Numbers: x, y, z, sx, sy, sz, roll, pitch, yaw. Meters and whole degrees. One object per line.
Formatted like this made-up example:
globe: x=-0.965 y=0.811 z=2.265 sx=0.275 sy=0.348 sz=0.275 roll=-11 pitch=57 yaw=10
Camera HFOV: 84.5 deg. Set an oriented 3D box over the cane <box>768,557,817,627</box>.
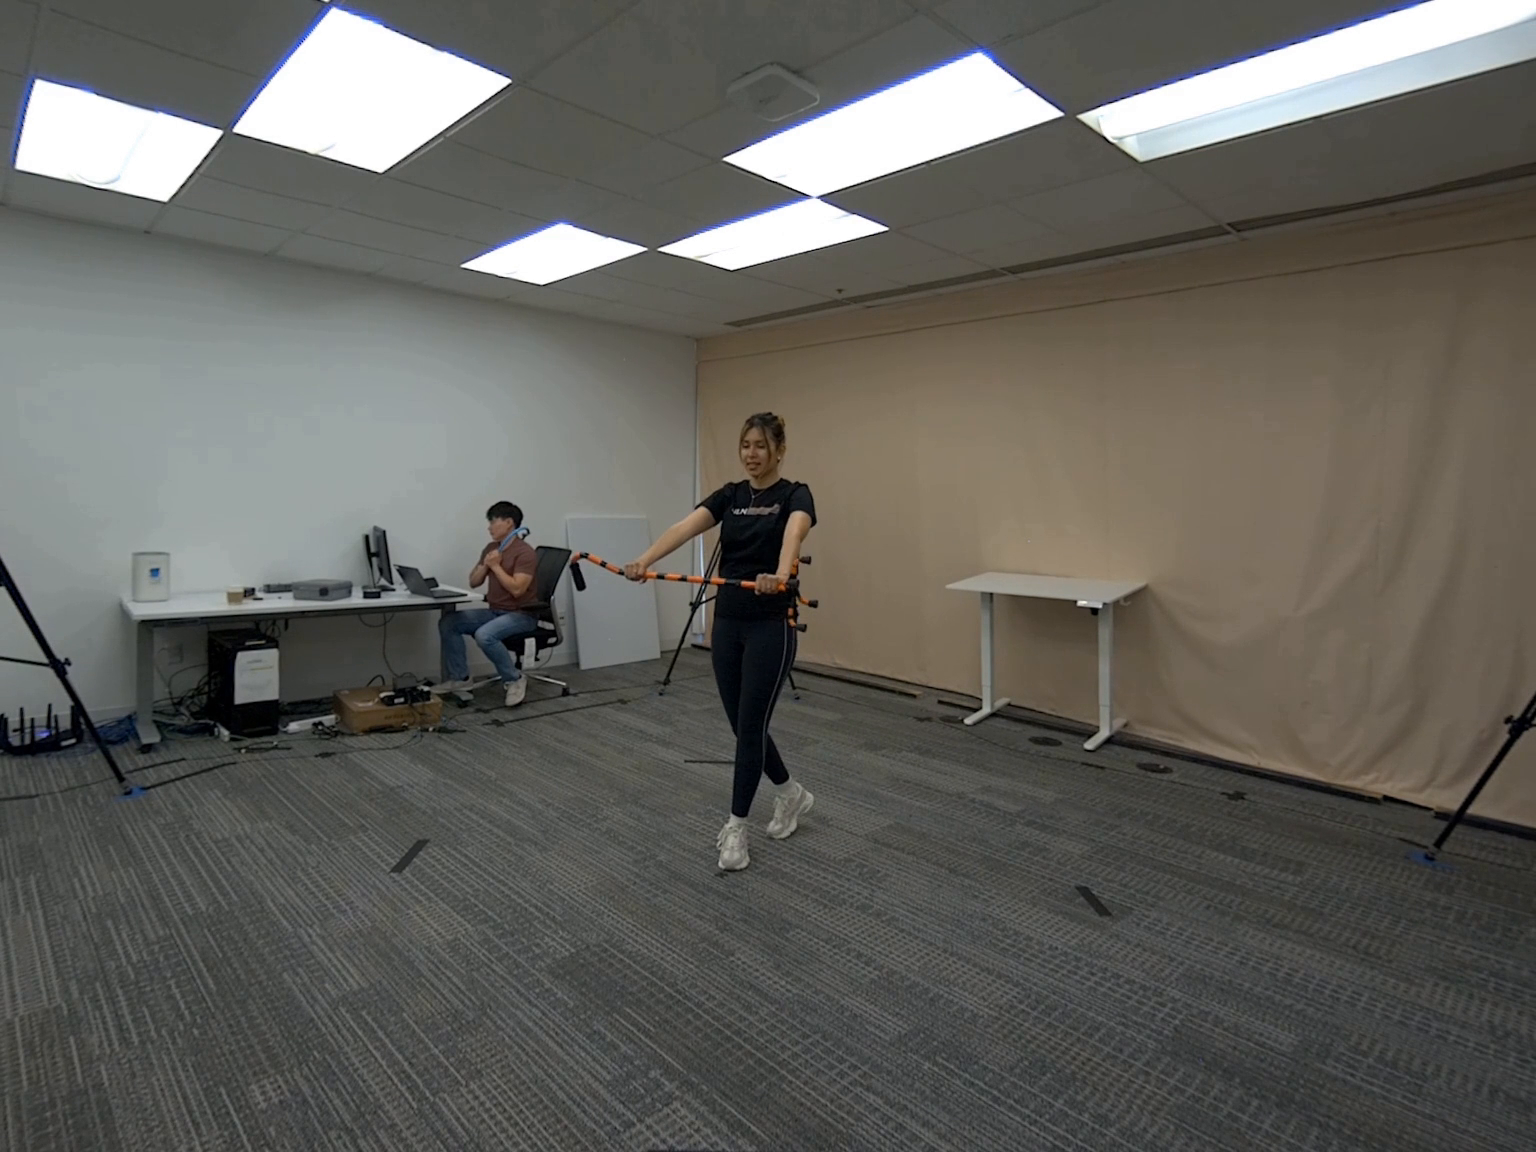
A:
cane: x=-0.309 y=0.012 z=2.850 sx=0.926 sy=0.201 sz=0.152 roll=6 pitch=37 yaw=25
